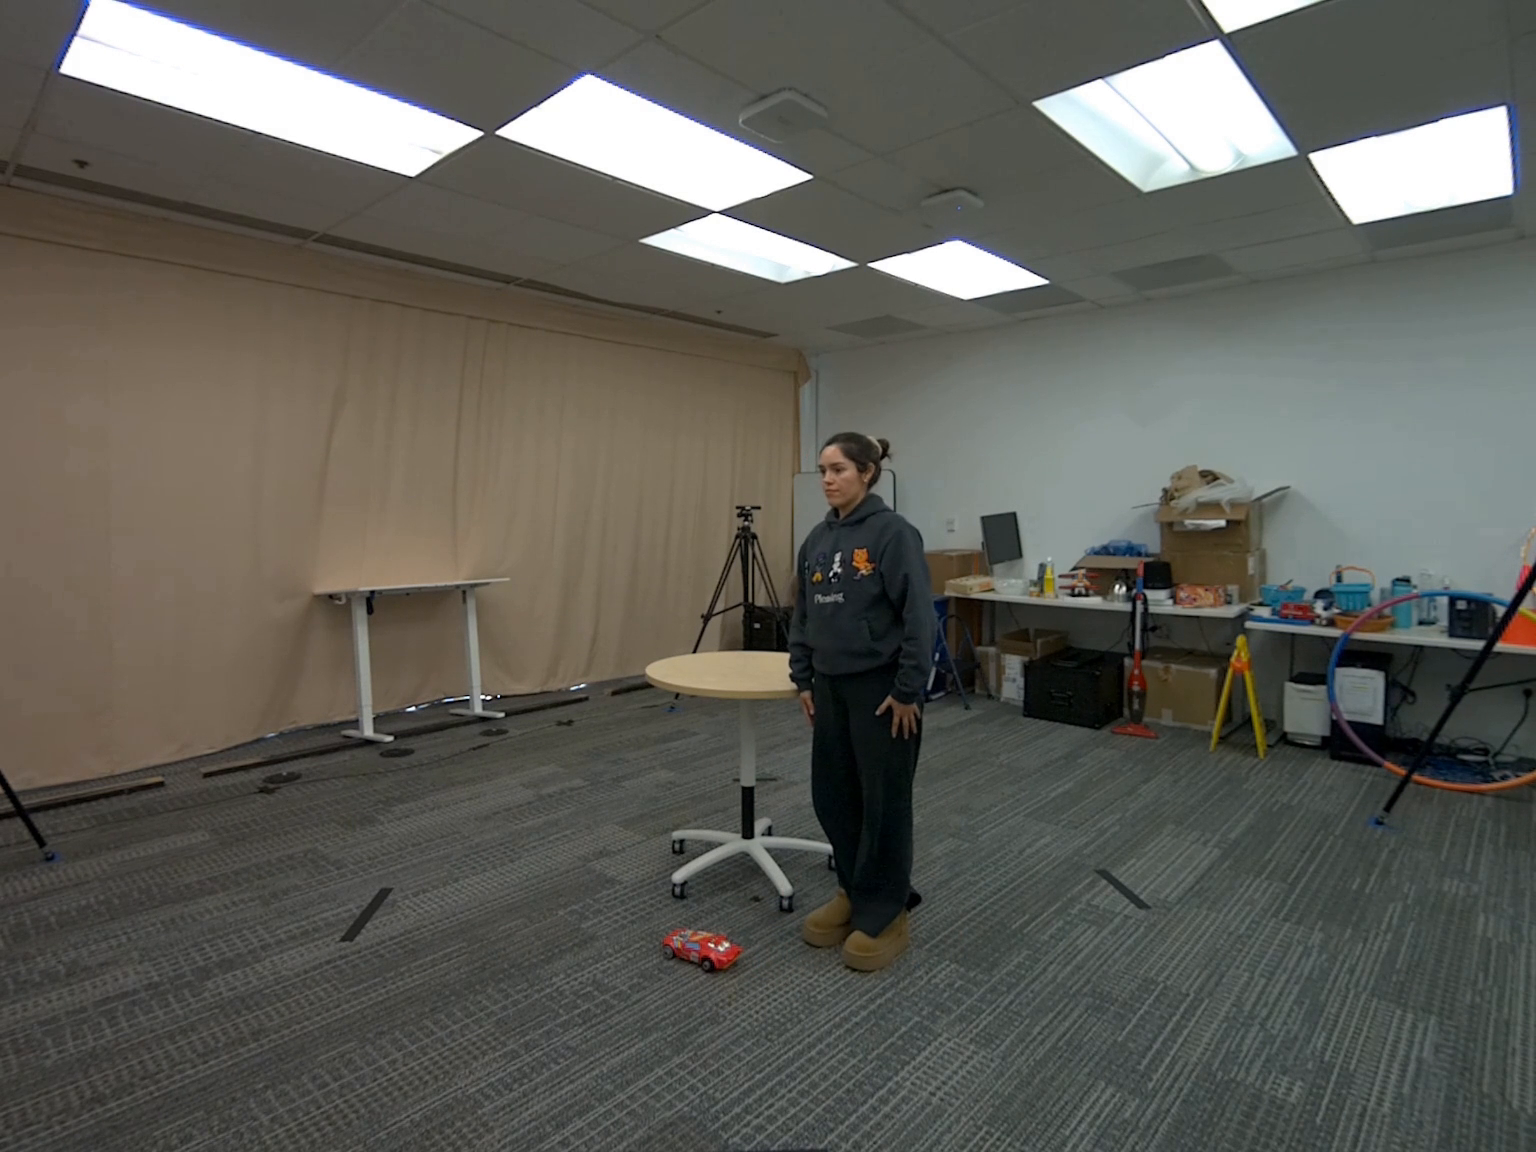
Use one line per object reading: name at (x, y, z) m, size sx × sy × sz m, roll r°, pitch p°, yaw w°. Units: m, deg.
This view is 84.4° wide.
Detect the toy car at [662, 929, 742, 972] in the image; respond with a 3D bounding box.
toy car at (-0.178, 1.158, 2.576) m, size 0.261 × 0.083 × 0.127 m, roll -10°, pitch -2°, yaw 32°
